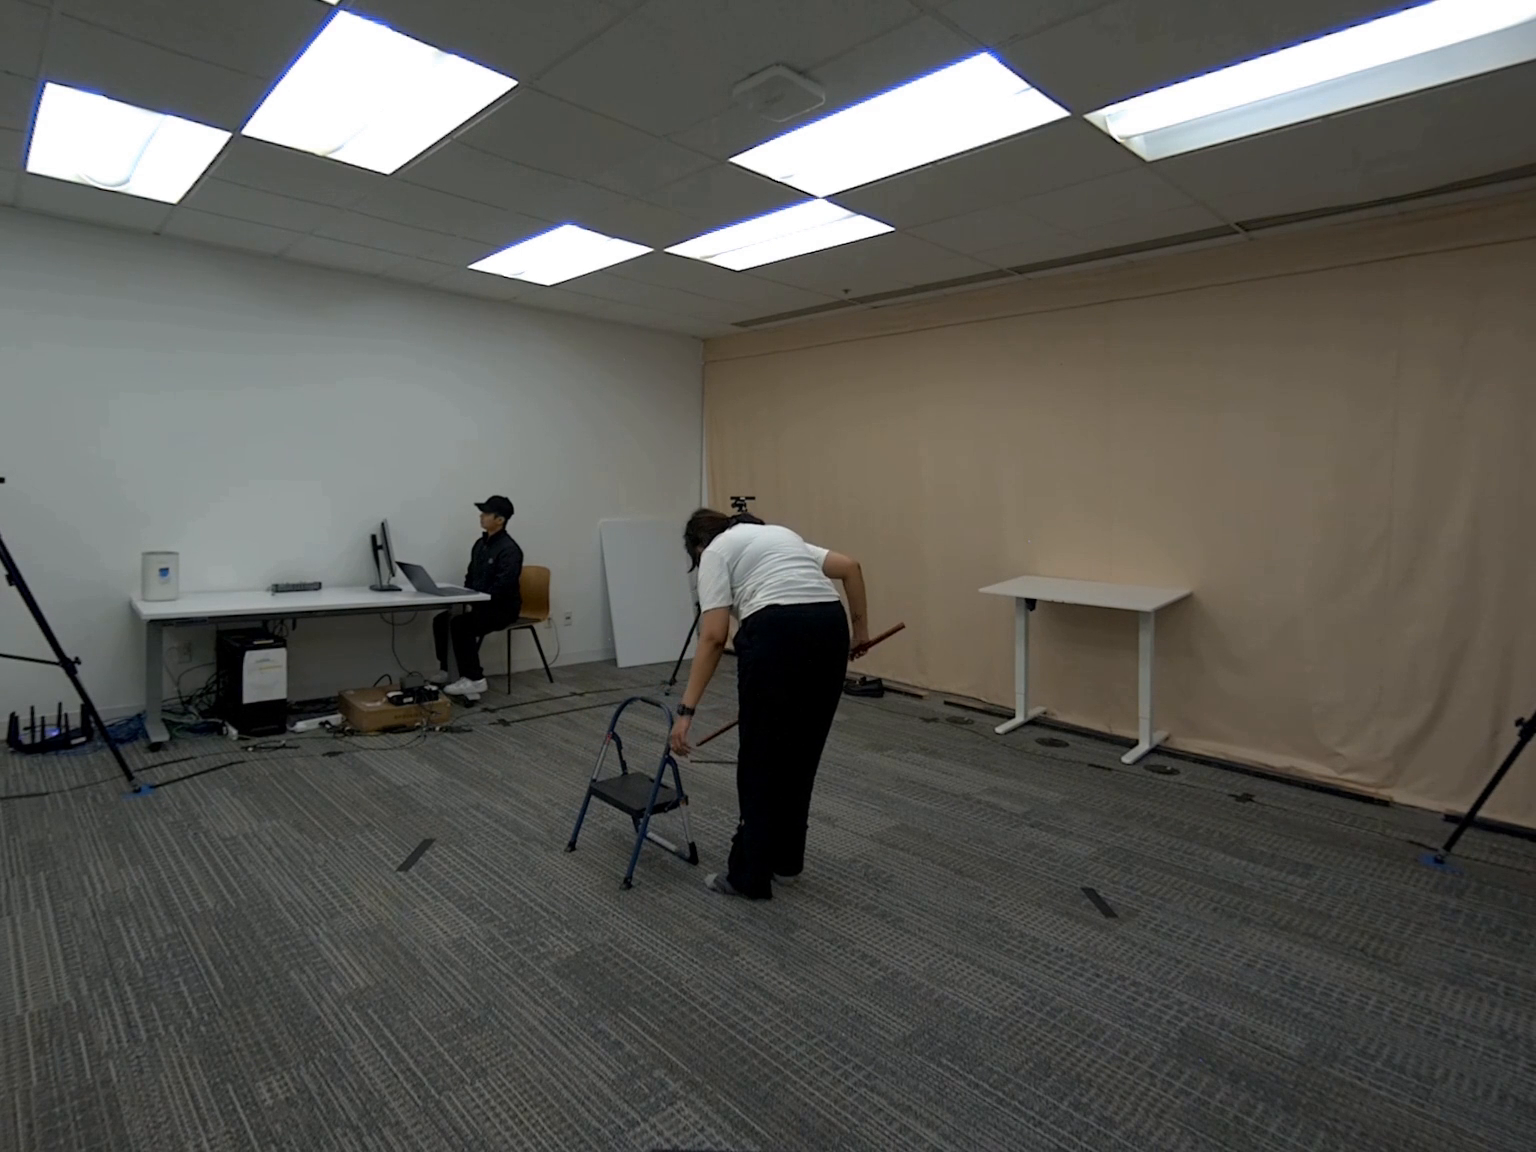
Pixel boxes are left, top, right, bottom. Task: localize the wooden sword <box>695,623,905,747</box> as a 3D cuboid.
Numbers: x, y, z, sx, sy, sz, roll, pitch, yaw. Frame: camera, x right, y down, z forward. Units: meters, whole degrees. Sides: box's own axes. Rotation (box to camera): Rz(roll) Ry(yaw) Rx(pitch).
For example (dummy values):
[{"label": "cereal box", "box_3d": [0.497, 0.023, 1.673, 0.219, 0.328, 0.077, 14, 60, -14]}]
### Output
[{"label": "wooden sword", "box_3d": [0.071, 0.471, 3.353, 1.029, 0.024, 0.051, -33, 11, 18]}]
